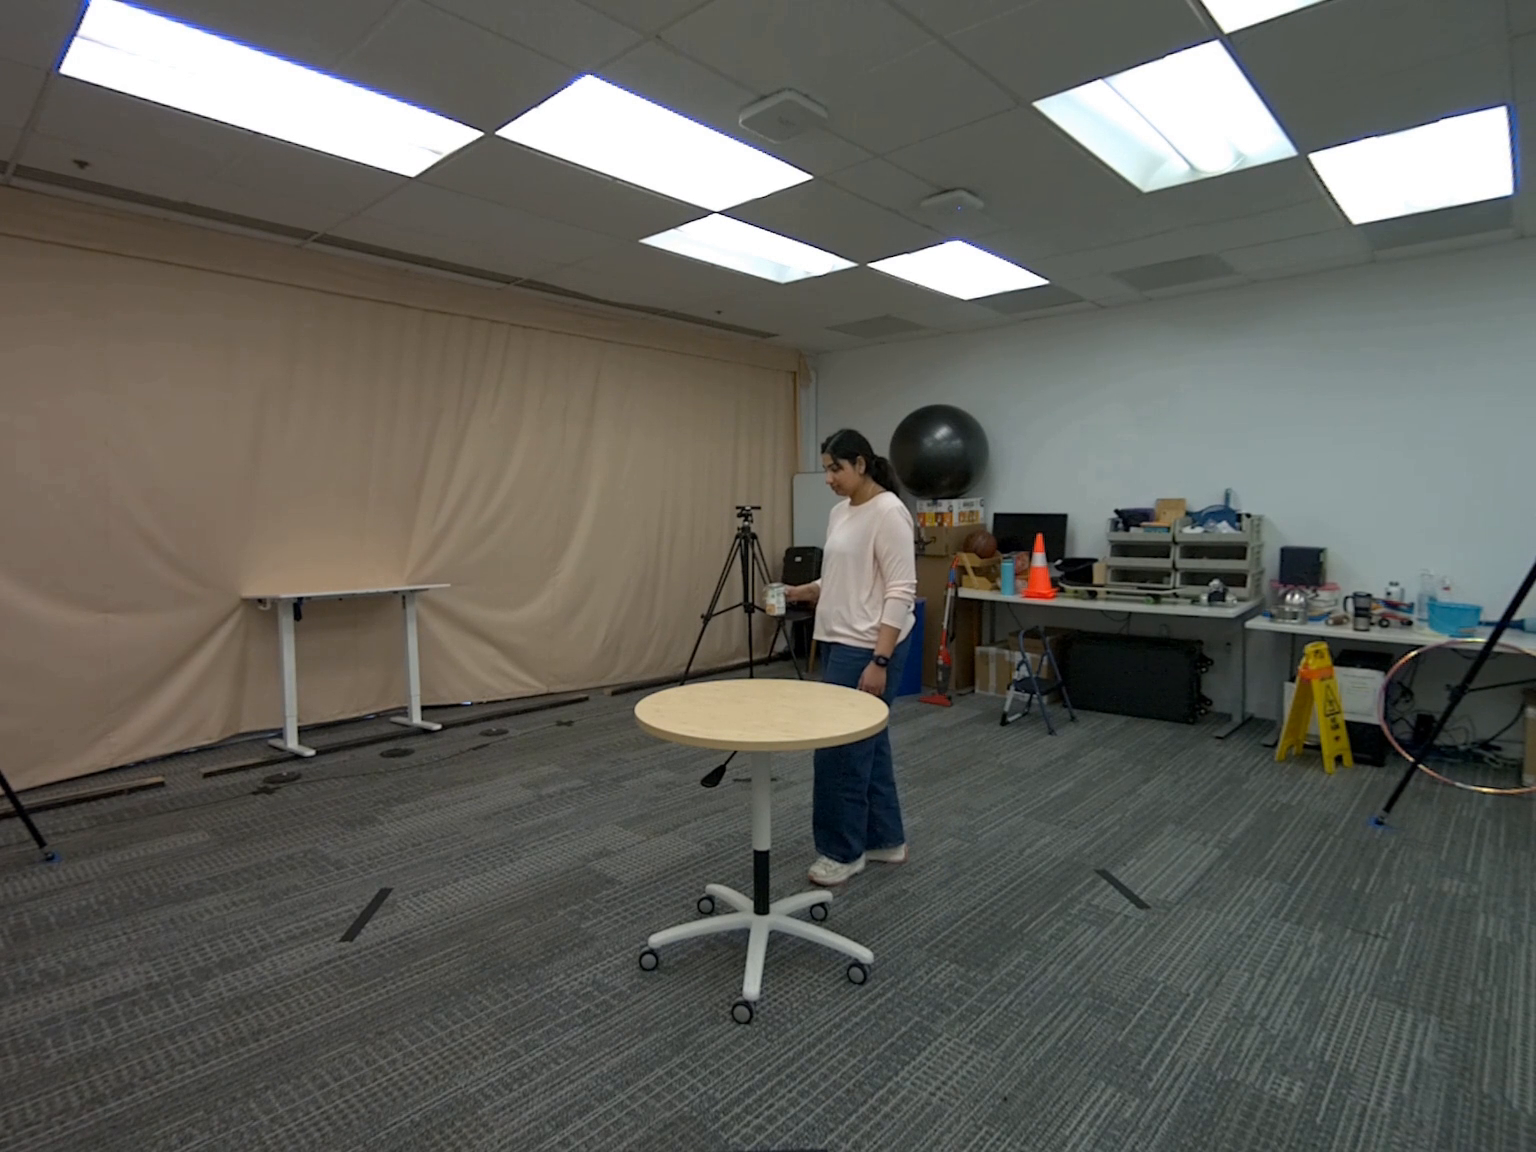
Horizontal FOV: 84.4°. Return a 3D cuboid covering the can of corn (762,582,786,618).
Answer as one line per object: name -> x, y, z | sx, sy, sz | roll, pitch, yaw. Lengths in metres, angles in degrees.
can of corn -> 0.033, 0.095, 3.252 | 0.074, 0.111, 0.074 | -1, 4, -2
